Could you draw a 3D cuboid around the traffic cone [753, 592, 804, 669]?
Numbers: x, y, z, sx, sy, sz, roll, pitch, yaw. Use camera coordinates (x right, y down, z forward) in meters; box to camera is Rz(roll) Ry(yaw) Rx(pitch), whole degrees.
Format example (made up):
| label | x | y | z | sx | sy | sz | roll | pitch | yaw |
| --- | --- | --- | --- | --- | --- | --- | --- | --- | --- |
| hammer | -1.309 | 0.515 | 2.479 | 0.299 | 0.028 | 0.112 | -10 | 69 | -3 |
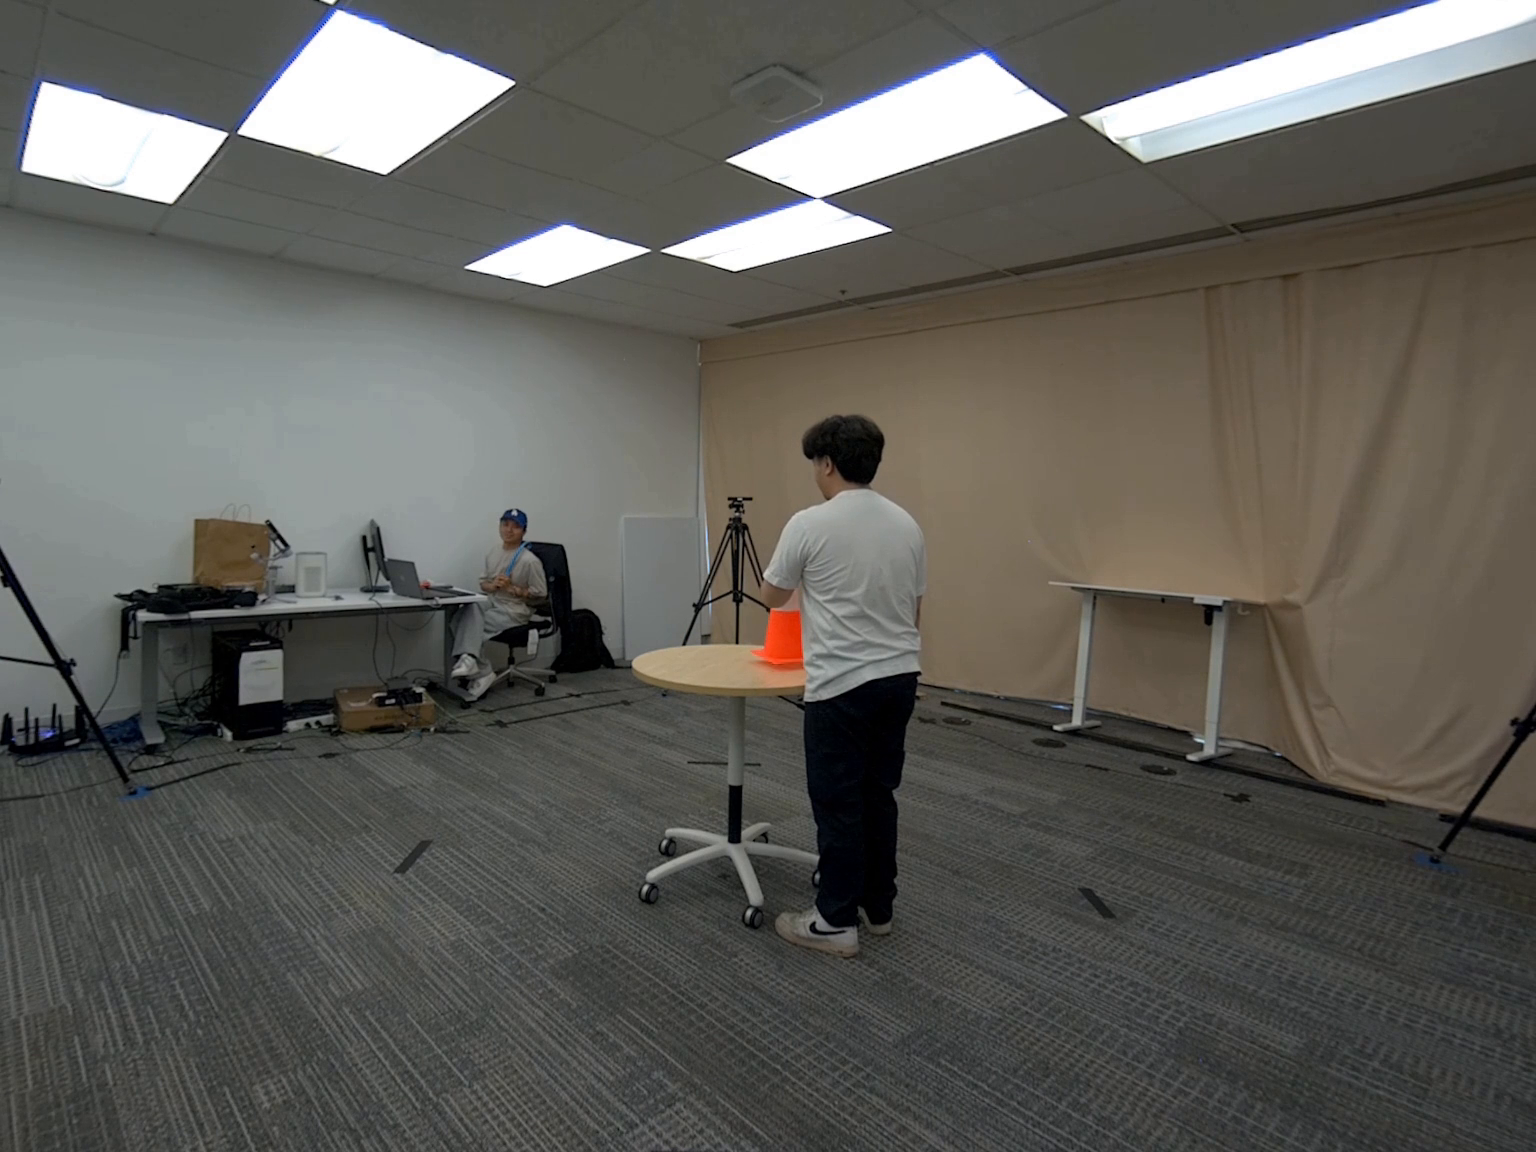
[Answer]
| label | x | y | z | sx | sy | sz | roll | pitch | yaw |
| --- | --- | --- | --- | --- | --- | --- | --- | --- | --- |
| traffic cone | 0.059 | 0.102 | 3.019 | 0.200 | 0.382 | 0.209 | -4 | 9 | -41 |
